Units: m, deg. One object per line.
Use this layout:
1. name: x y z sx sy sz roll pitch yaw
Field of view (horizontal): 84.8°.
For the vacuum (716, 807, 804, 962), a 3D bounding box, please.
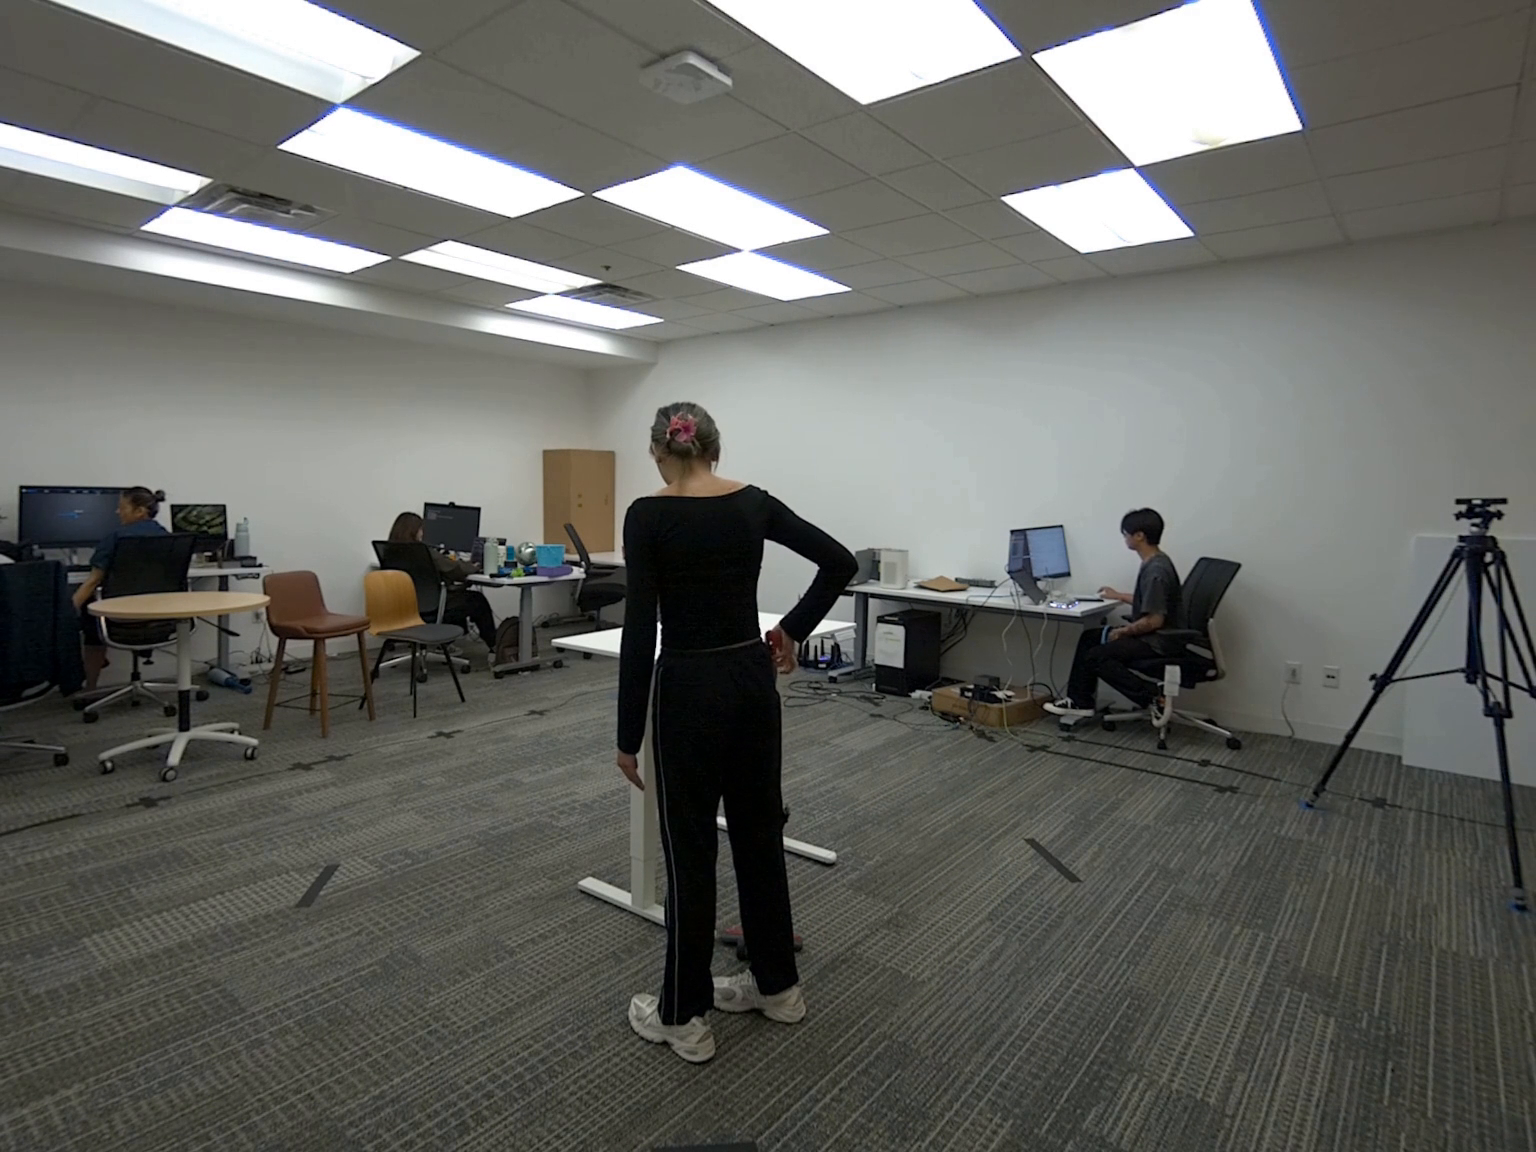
1. vacuum: -0.015 0.637 2.384 0.256 1.030 0.145 6 21 10
